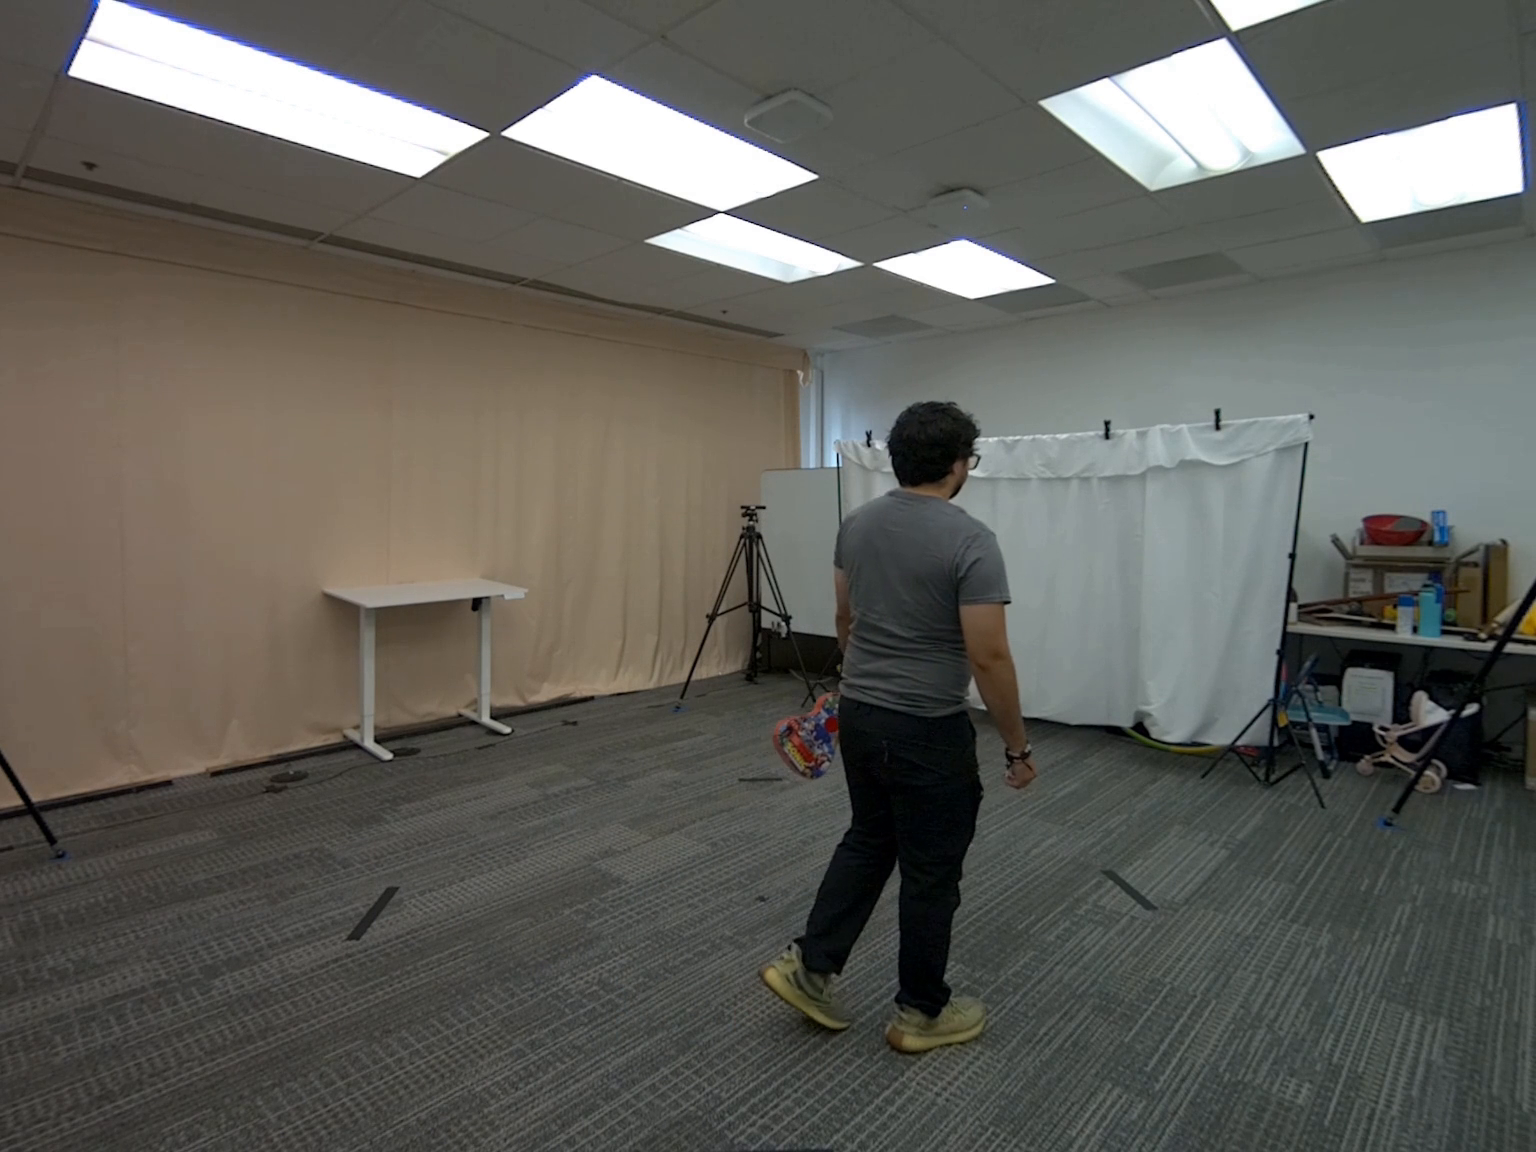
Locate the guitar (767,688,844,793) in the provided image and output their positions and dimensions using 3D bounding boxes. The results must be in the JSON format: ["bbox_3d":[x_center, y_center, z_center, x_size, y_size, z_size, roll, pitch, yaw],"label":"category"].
[{"bbox_3d":[0.263,0.429,2.560,0.494,0.194,0.071,-30,-5,-10],"label":"guitar"}]
